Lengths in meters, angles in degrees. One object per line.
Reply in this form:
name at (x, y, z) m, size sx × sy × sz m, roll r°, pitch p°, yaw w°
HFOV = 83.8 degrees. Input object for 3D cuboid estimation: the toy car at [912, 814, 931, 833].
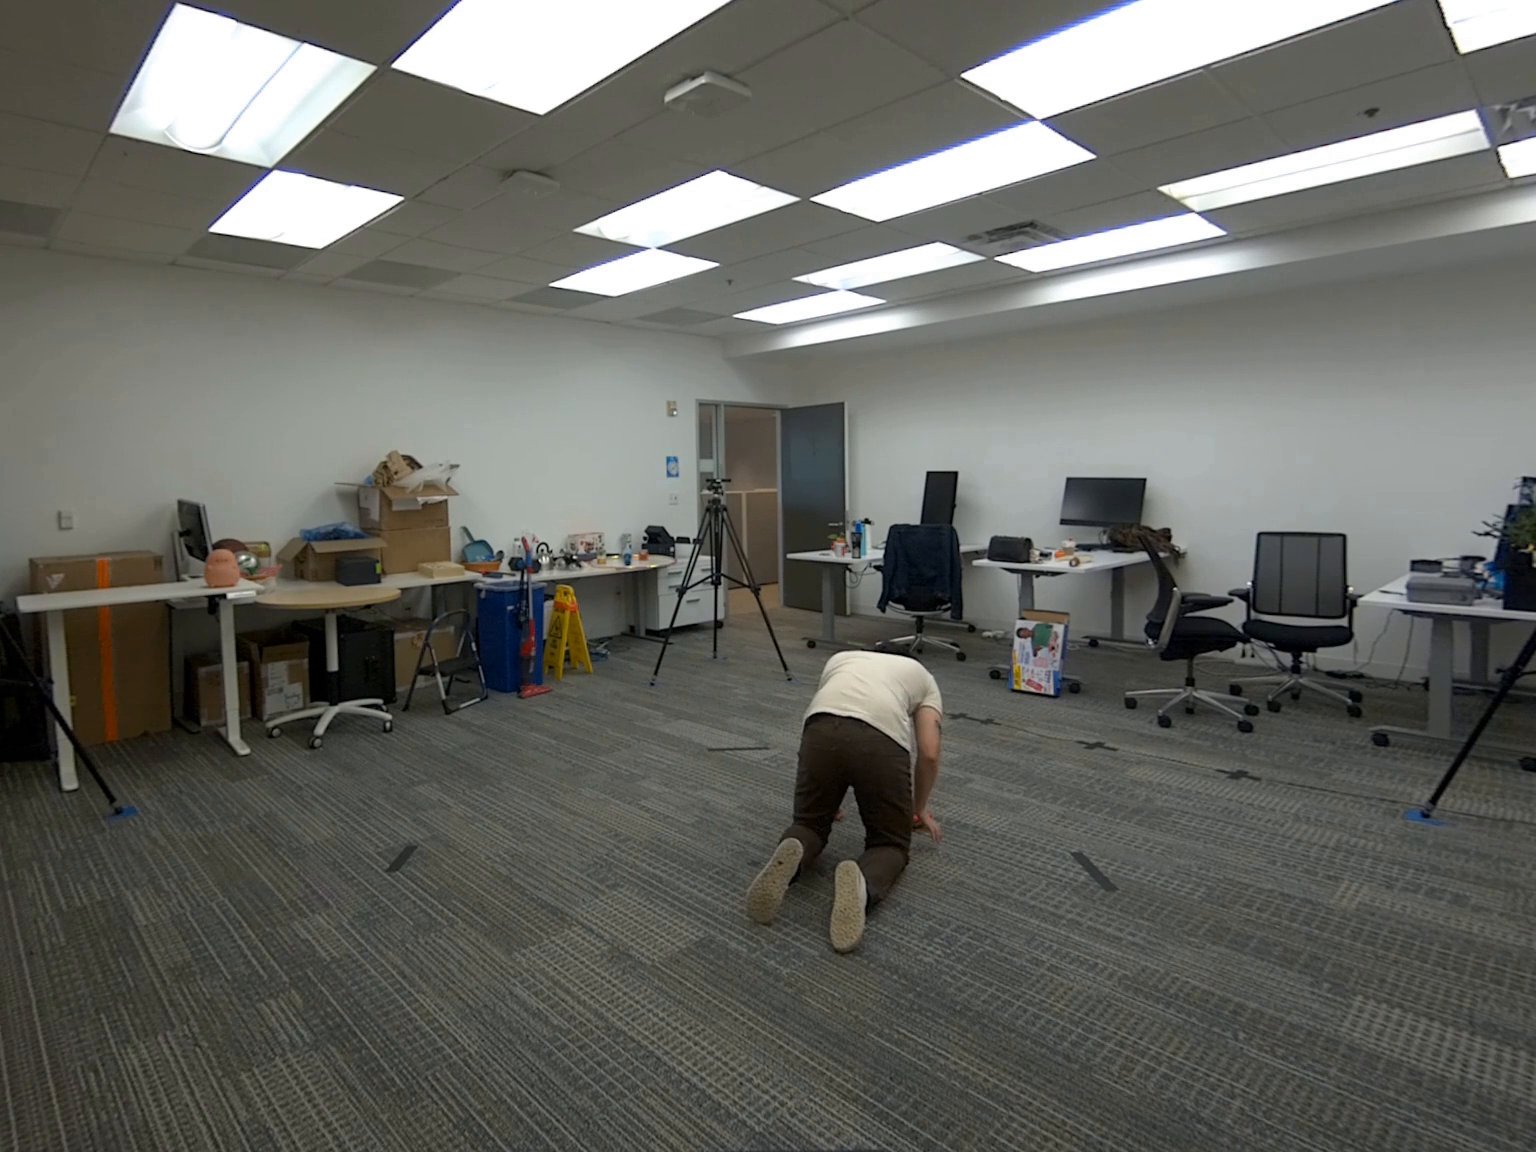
toy car at (0.558, 0.964, 3.467) m, size 0.127 × 0.084 × 0.259 m, roll -3°, pitch -6°, yaw -33°
